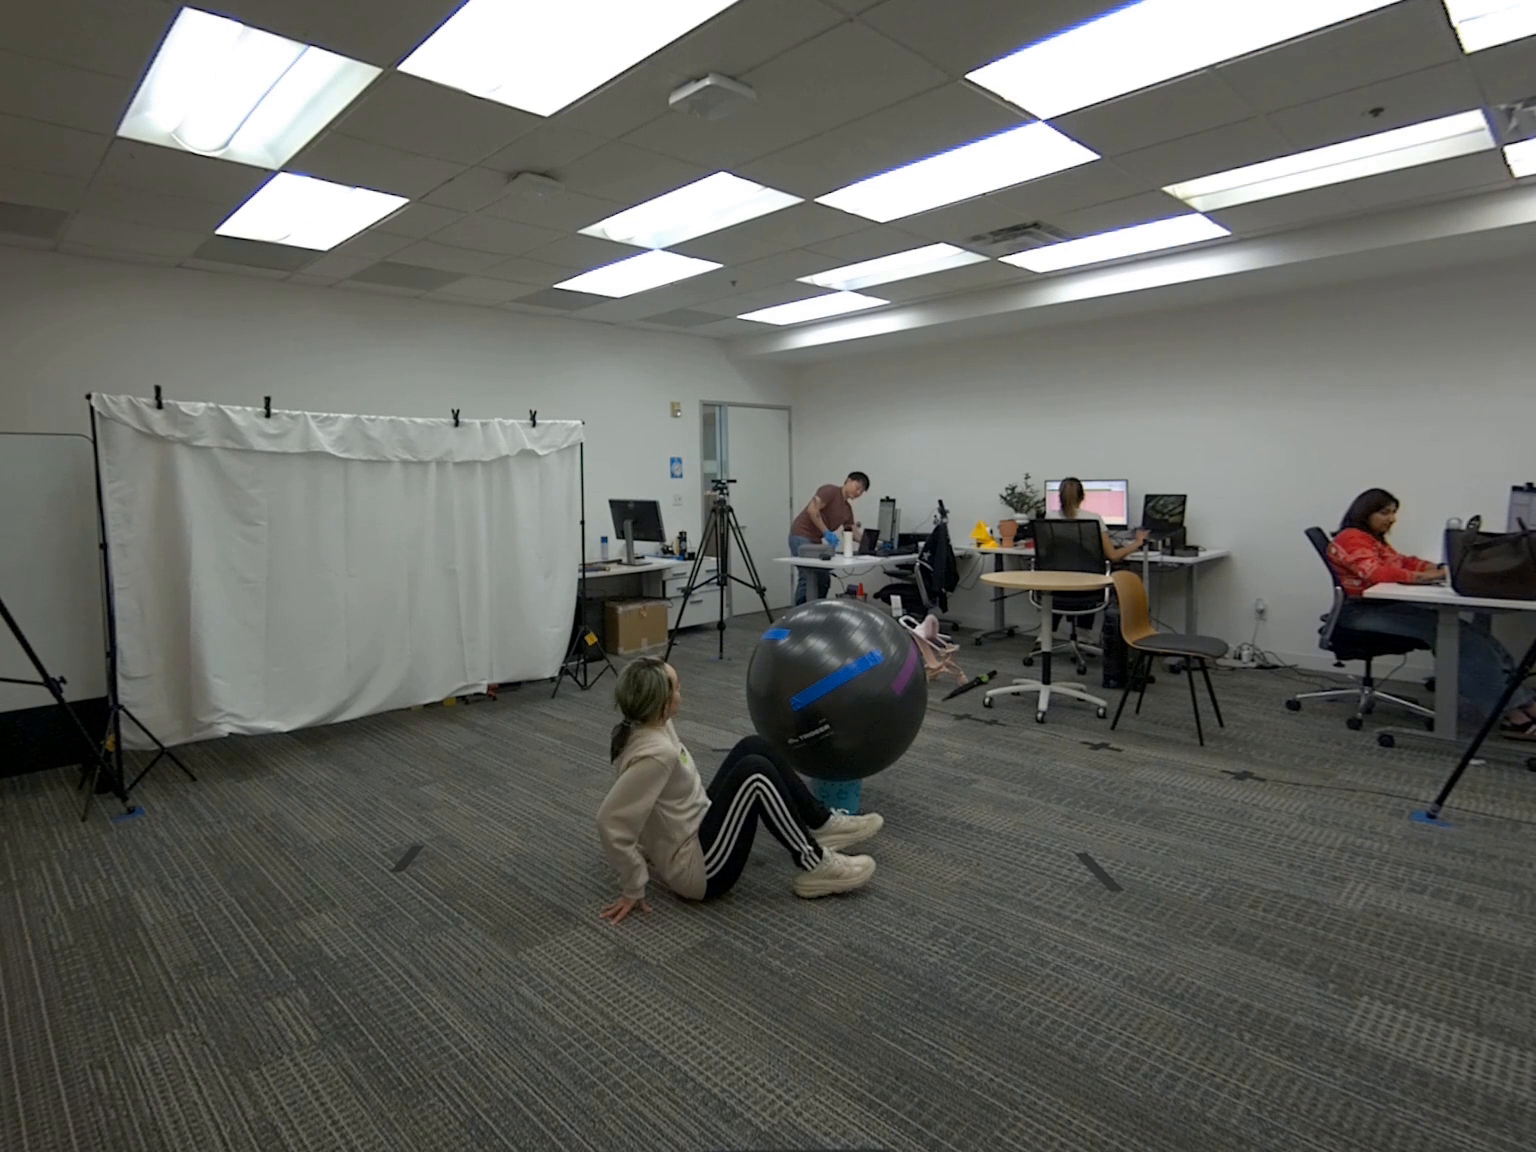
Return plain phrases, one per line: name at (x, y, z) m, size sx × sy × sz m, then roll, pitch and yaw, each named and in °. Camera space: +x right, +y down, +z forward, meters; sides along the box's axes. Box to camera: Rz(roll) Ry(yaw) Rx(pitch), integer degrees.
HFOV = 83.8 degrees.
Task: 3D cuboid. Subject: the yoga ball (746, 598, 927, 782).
yoga ball at (0.290, 0.477, 3.597) m, size 0.757 × 0.755 × 0.762 m, roll -1°, pitch 5°, yaw -2°
